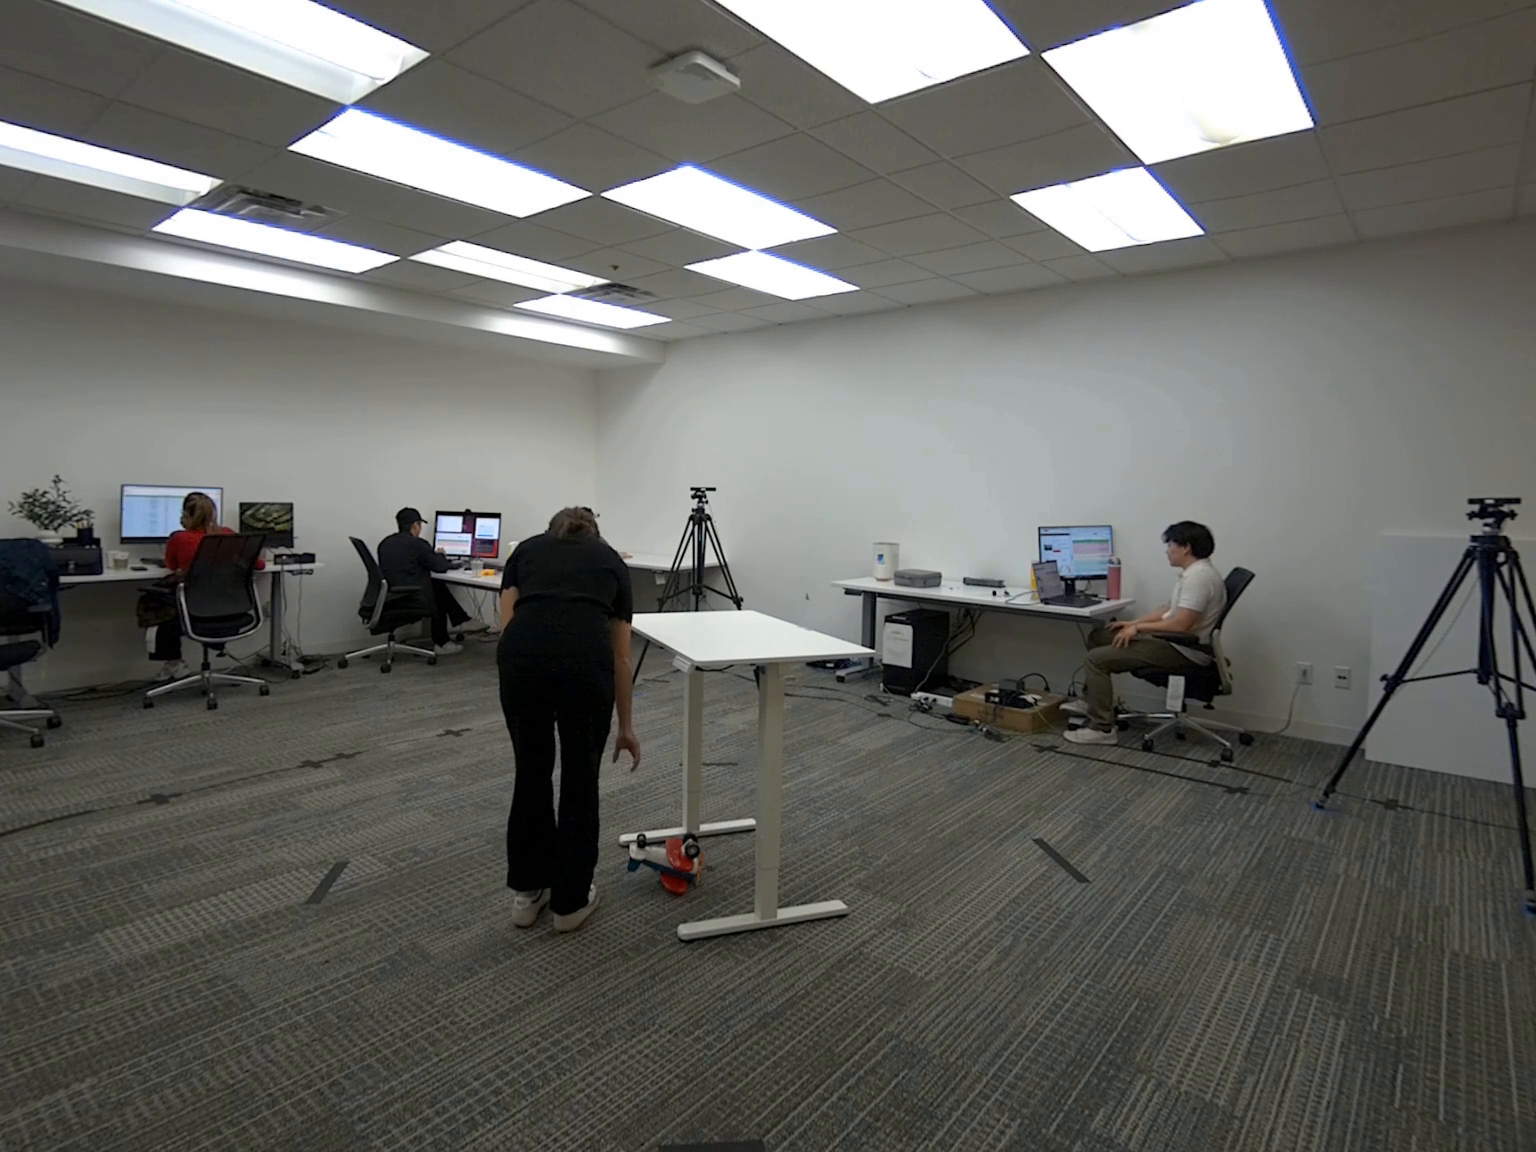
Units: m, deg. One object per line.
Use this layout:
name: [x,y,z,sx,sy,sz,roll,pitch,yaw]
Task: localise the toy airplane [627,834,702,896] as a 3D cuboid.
toy airplane: [-0.369,0.990,3.013,0.265,0.156,0.246,6,4,19]
